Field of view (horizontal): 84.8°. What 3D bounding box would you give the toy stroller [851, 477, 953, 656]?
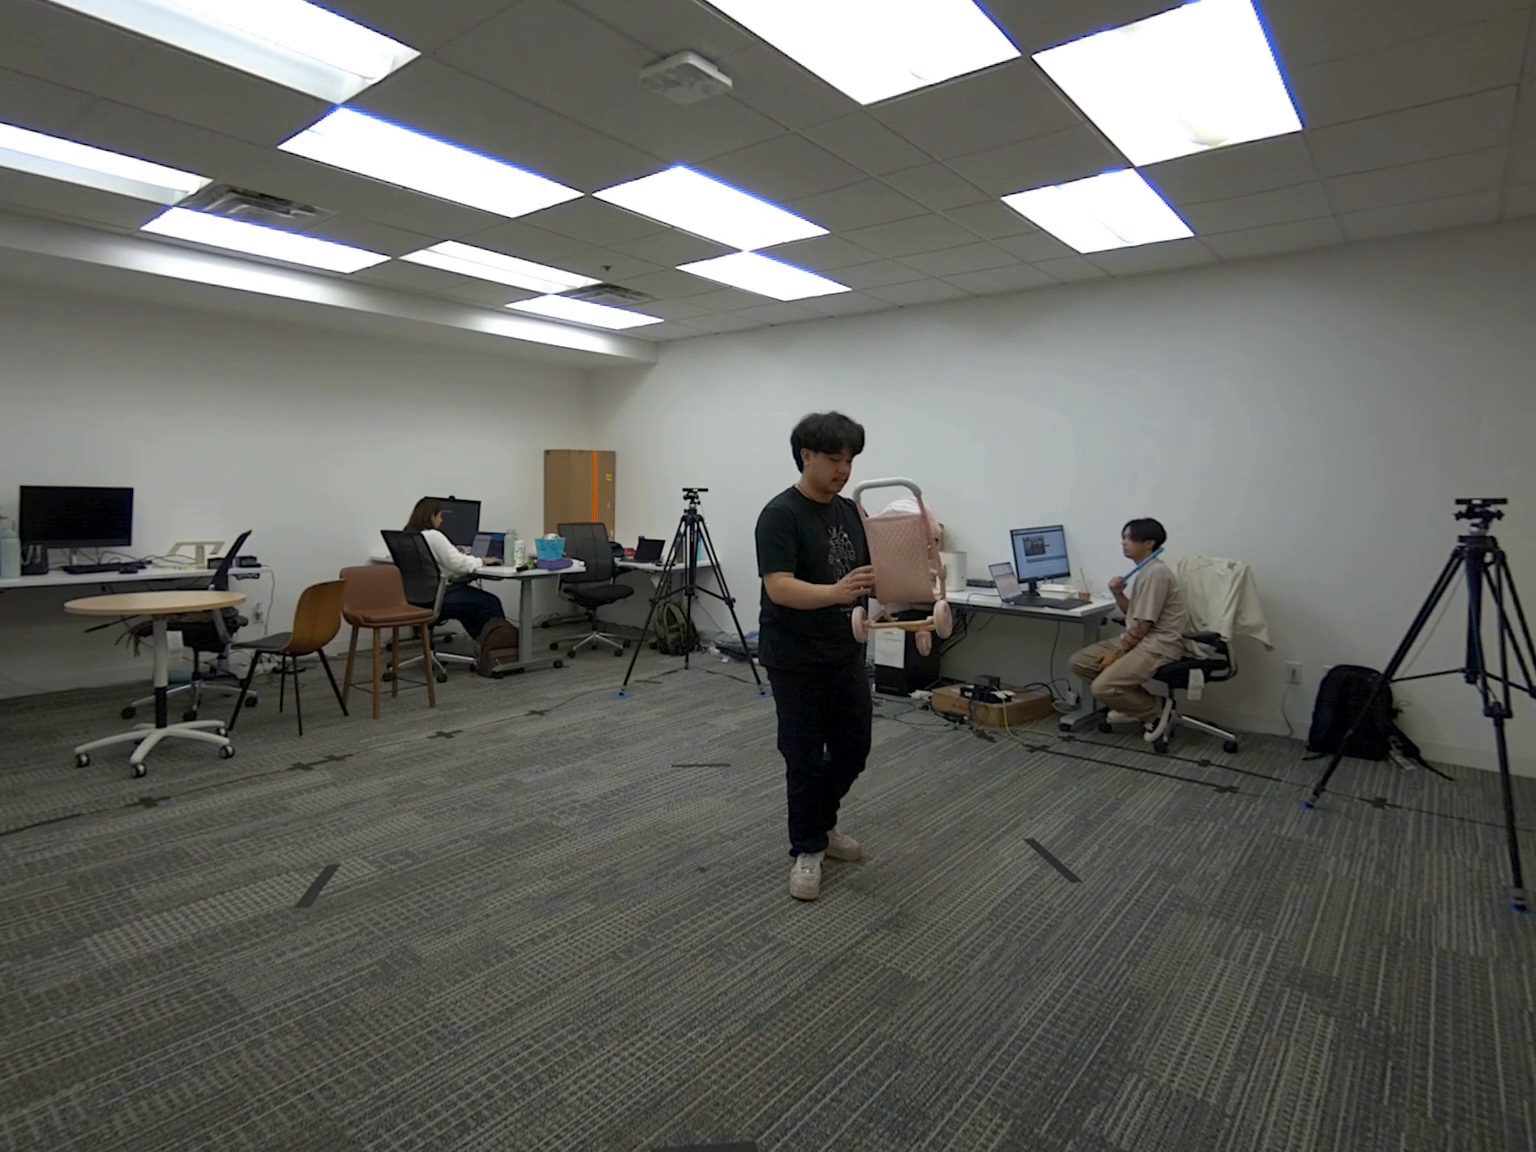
[{"bbox_3d":[0.423,-0.014,2.626,0.288,0.539,0.331,-8,-7,29],"label":"toy stroller"}]
